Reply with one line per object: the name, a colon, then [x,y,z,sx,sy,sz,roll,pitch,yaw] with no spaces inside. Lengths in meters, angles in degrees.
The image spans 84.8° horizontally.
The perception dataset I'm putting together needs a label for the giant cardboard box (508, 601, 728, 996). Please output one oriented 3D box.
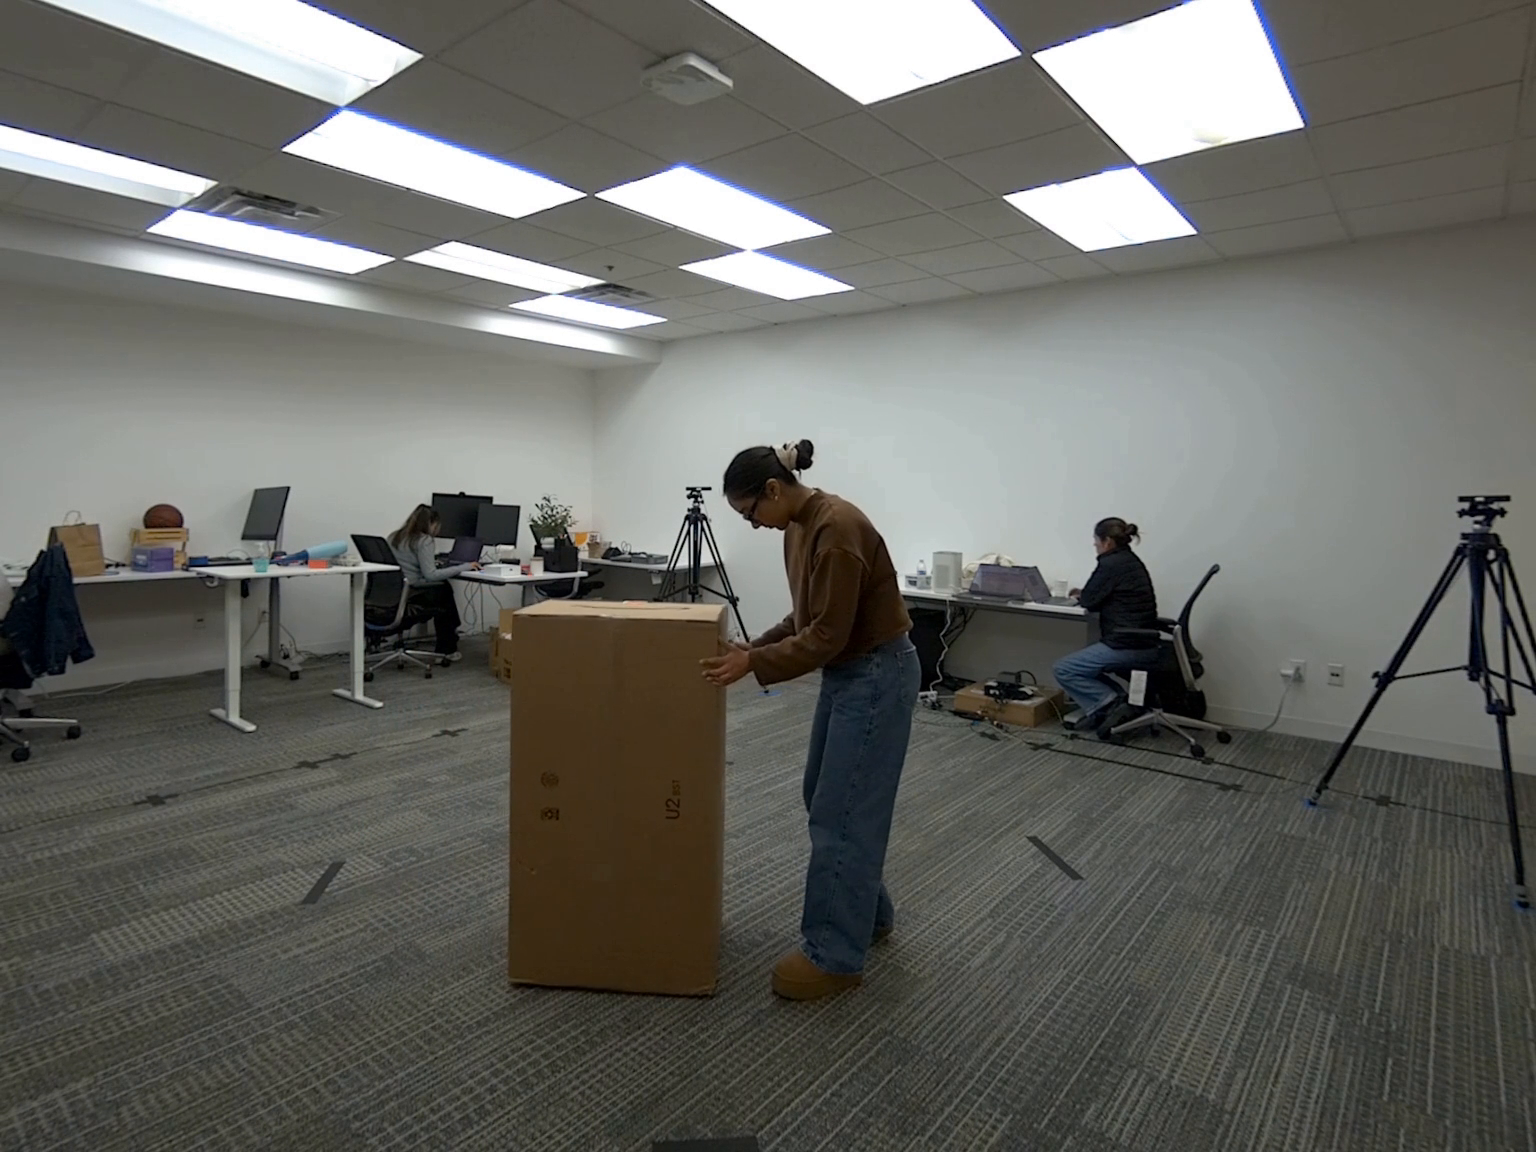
giant cardboard box: [-0.440,0.605,2.530,0.580,1.025,0.425,1,1,3]
